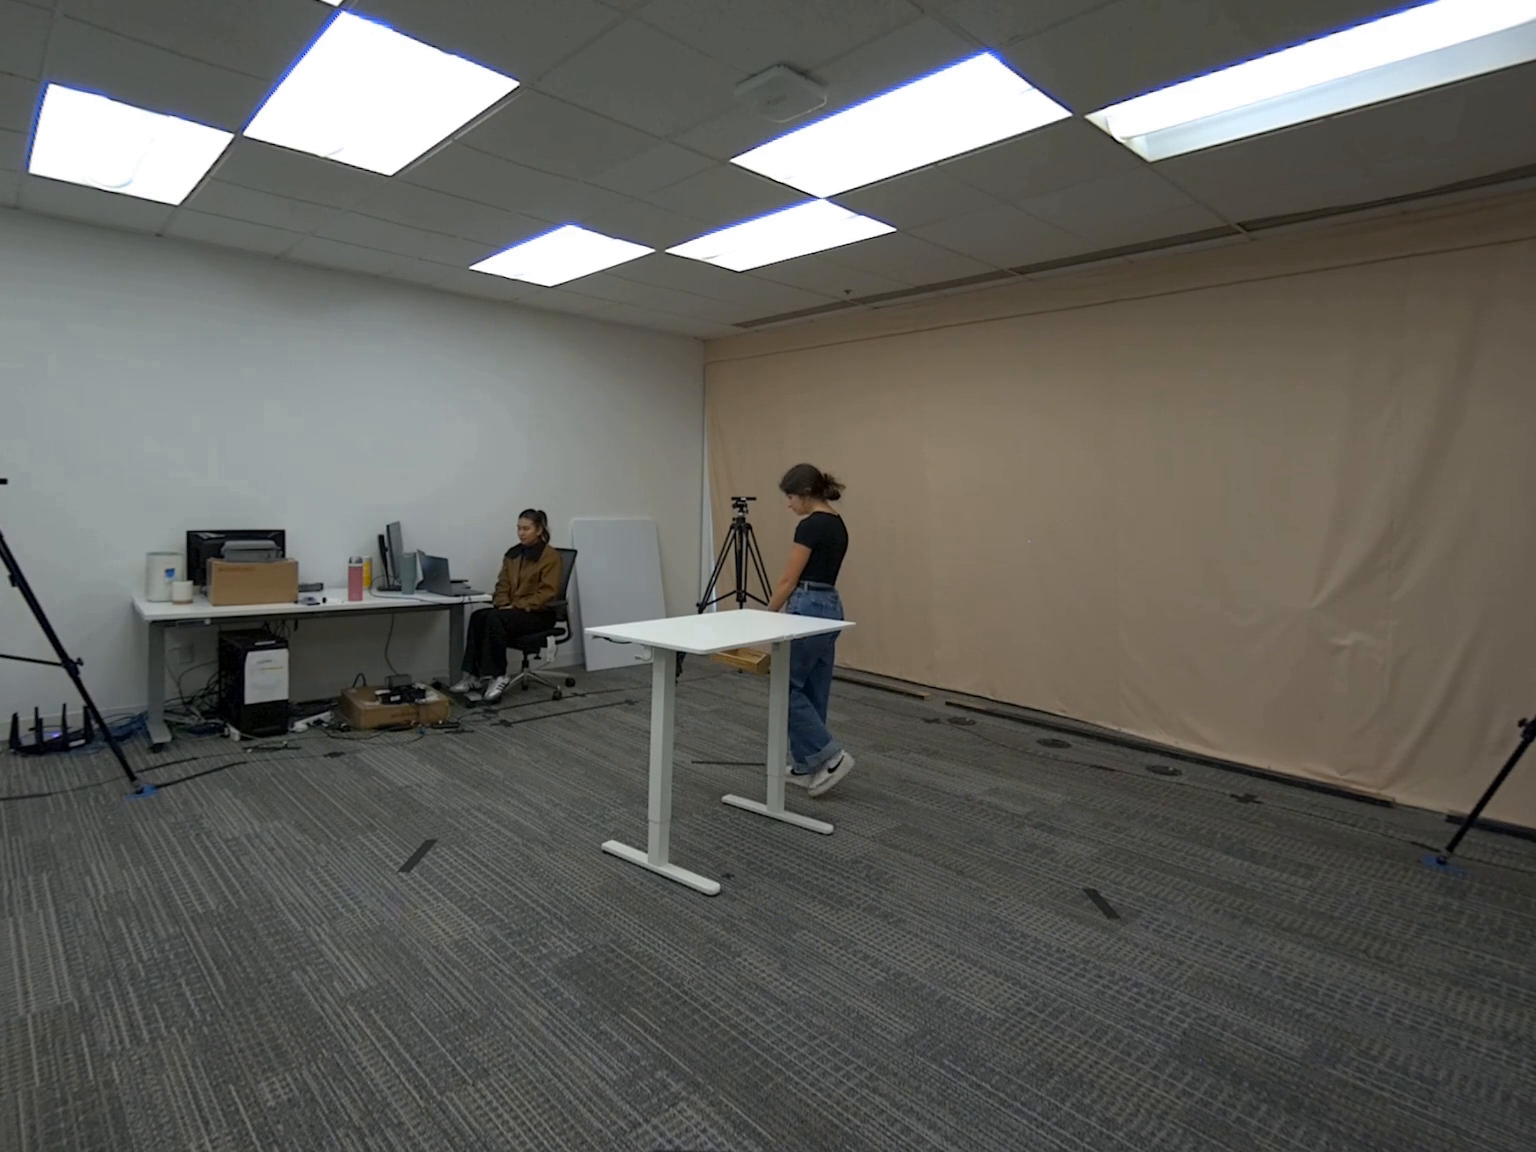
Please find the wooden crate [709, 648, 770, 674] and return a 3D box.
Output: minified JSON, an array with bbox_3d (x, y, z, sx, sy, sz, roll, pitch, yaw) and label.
[{"bbox_3d":[-0.077,0.318,4.145,0.333,0.274,0.293,10,-5,37],"label":"wooden crate"}]
